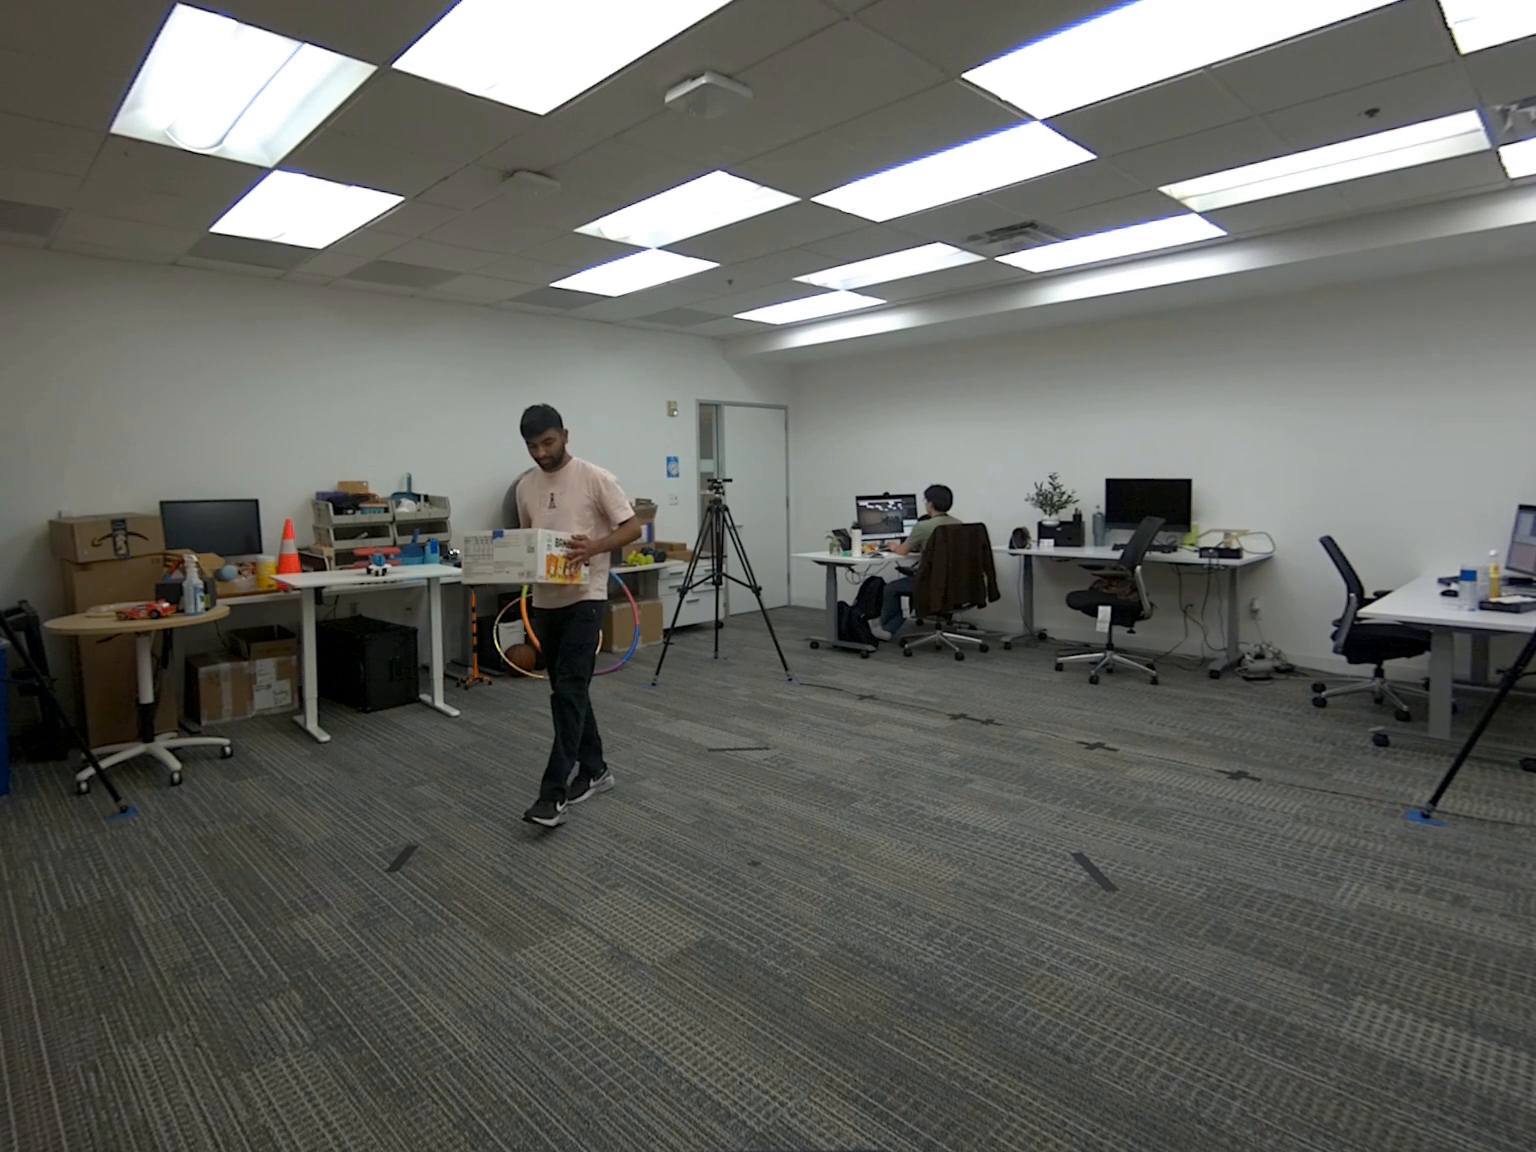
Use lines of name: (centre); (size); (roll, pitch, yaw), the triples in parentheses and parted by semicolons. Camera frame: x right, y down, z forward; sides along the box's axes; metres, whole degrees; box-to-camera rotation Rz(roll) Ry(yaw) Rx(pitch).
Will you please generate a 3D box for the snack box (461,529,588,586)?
snack box: (-0.959, -0.069, 3.401); (0.346, 0.206, 0.397); (-1, -2, 18)
